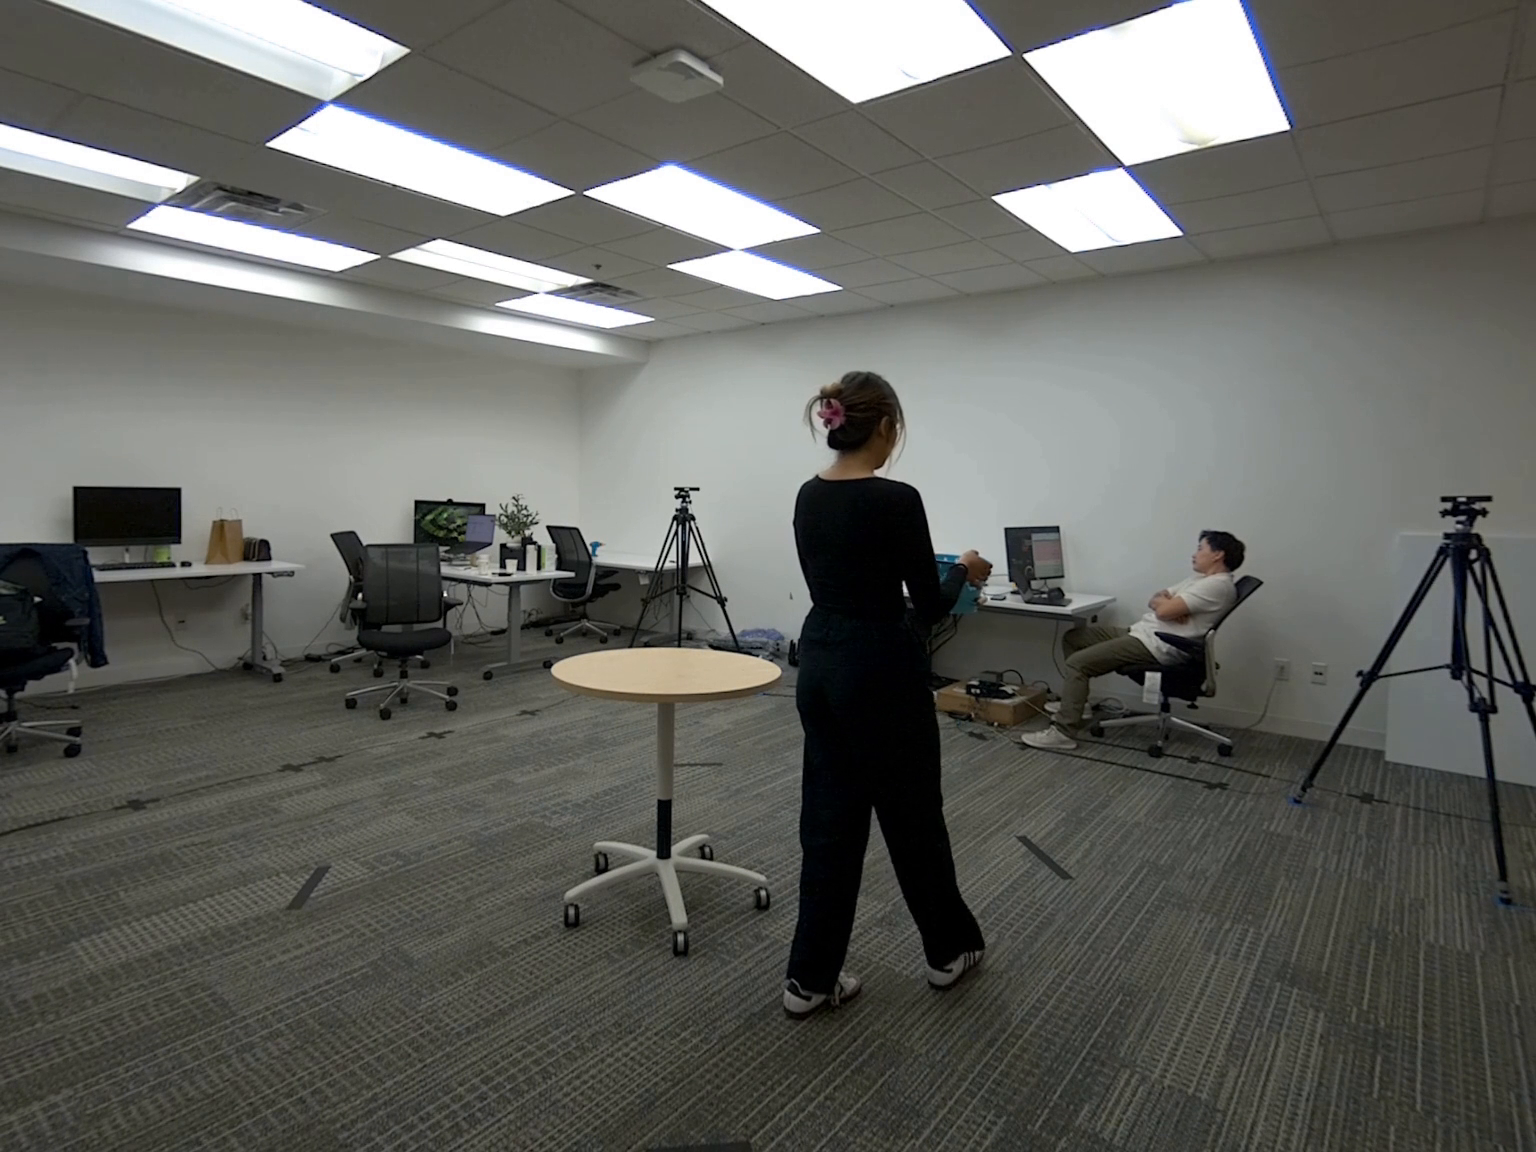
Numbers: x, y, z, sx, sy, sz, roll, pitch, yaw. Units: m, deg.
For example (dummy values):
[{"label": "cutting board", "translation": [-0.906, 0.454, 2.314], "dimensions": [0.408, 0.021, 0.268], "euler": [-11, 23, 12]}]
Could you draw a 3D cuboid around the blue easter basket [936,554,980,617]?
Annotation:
[{"label": "blue easter basket", "translation": [0.535, 0.026, 2.508], "dimensions": [0.243, 0.155, 0.245], "euler": [2, 7, -2]}]
